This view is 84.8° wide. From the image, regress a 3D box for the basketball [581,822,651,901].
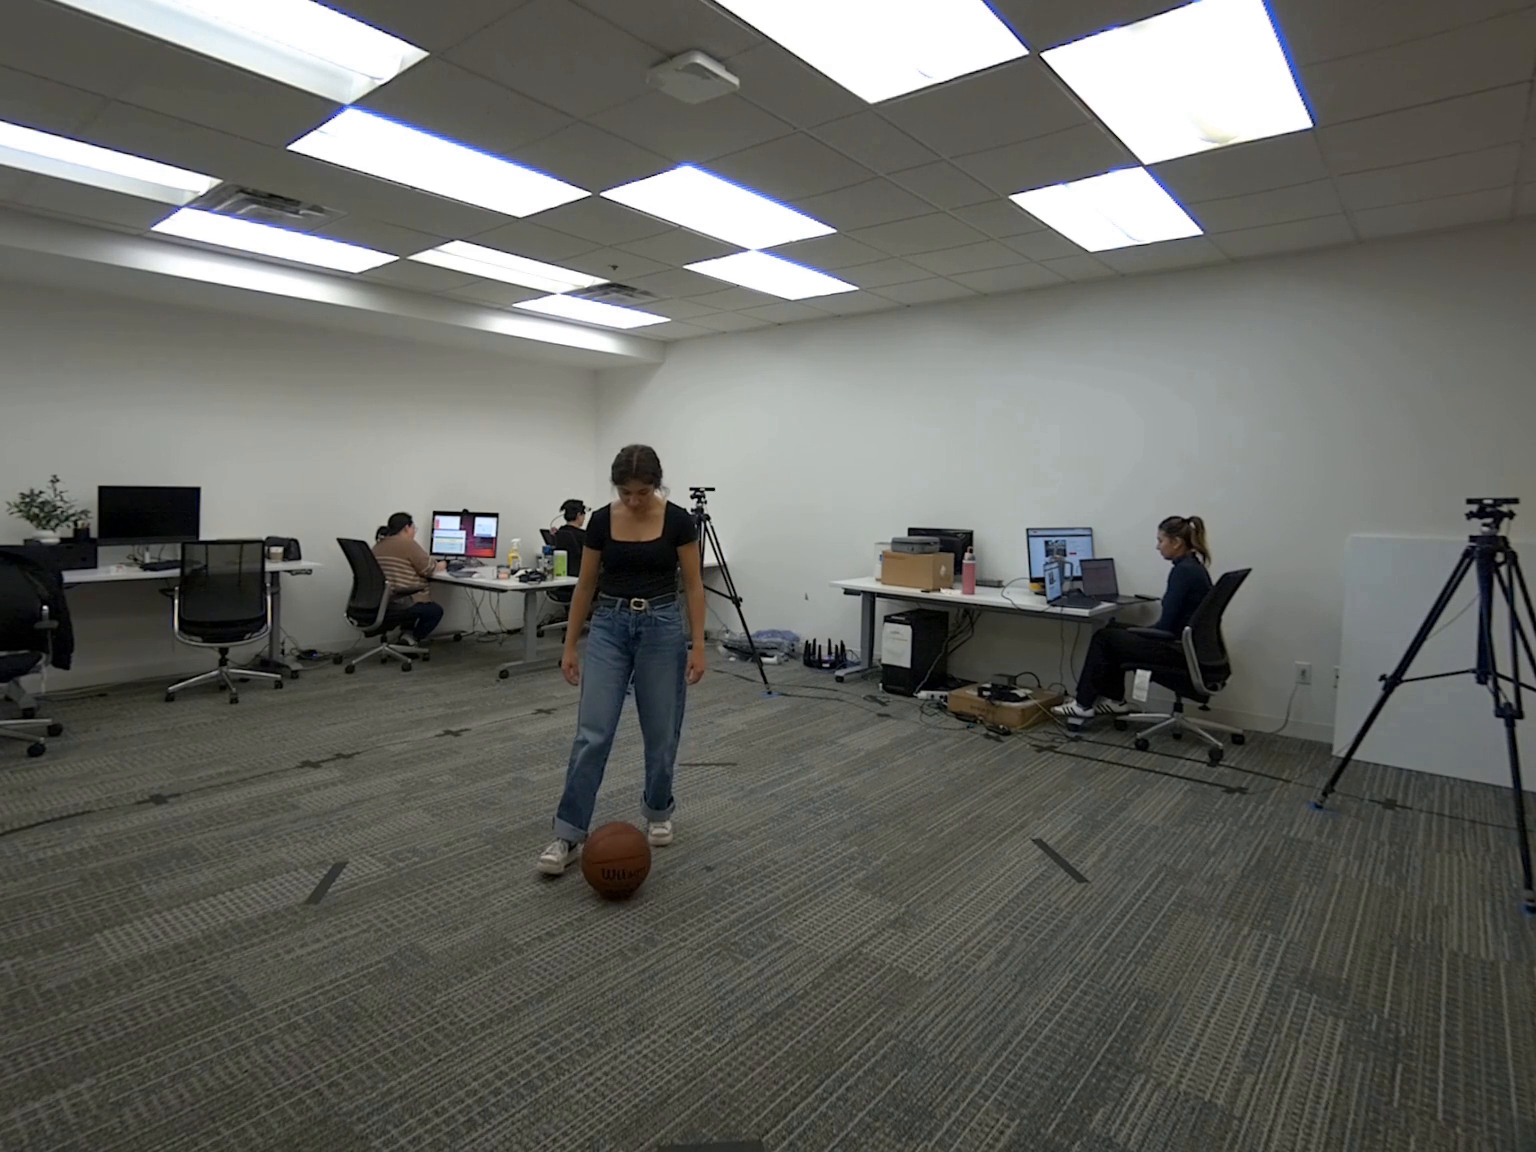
[{"bbox_3d":[-0.525,0.961,2.897,0.235,0.235,0.237,1,4,-2],"label":"basketball"}]
